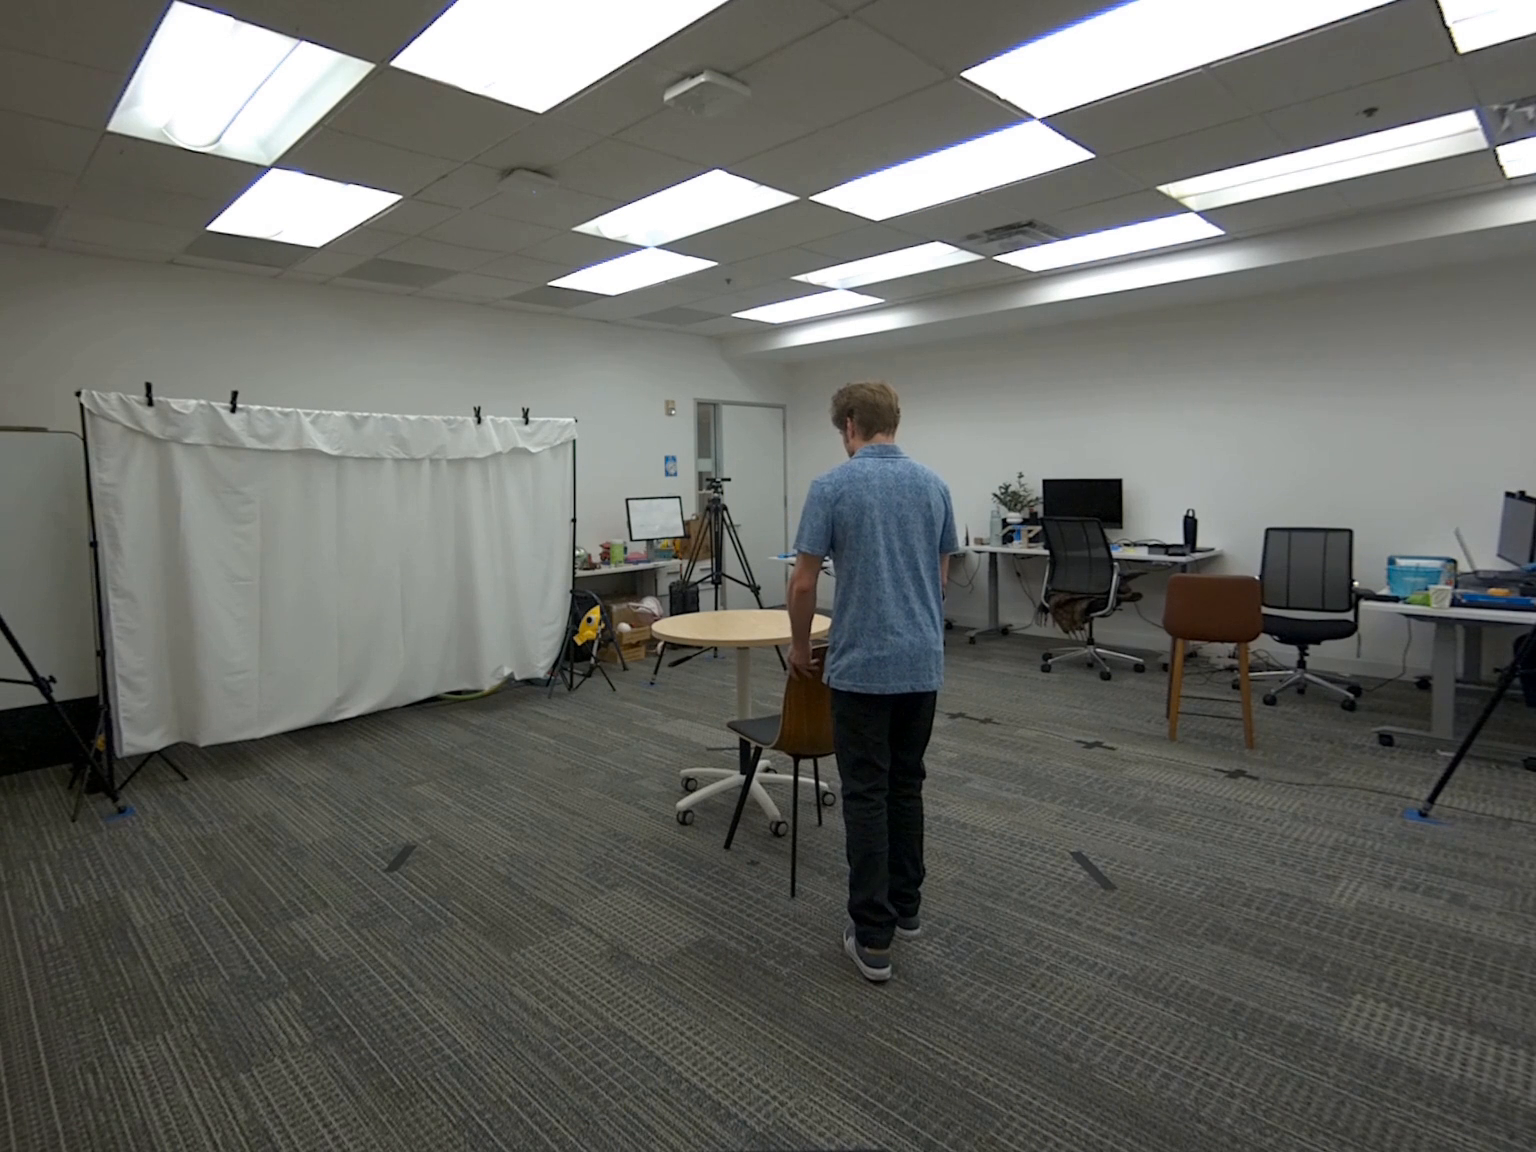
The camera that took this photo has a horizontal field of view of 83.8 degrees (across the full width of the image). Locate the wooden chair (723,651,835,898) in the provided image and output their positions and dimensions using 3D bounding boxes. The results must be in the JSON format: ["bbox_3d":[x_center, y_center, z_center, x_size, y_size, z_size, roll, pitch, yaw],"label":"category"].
[{"bbox_3d":[0.137,0.610,3.115,0.467,0.871,0.539,-4,9,-31],"label":"wooden chair"}]
